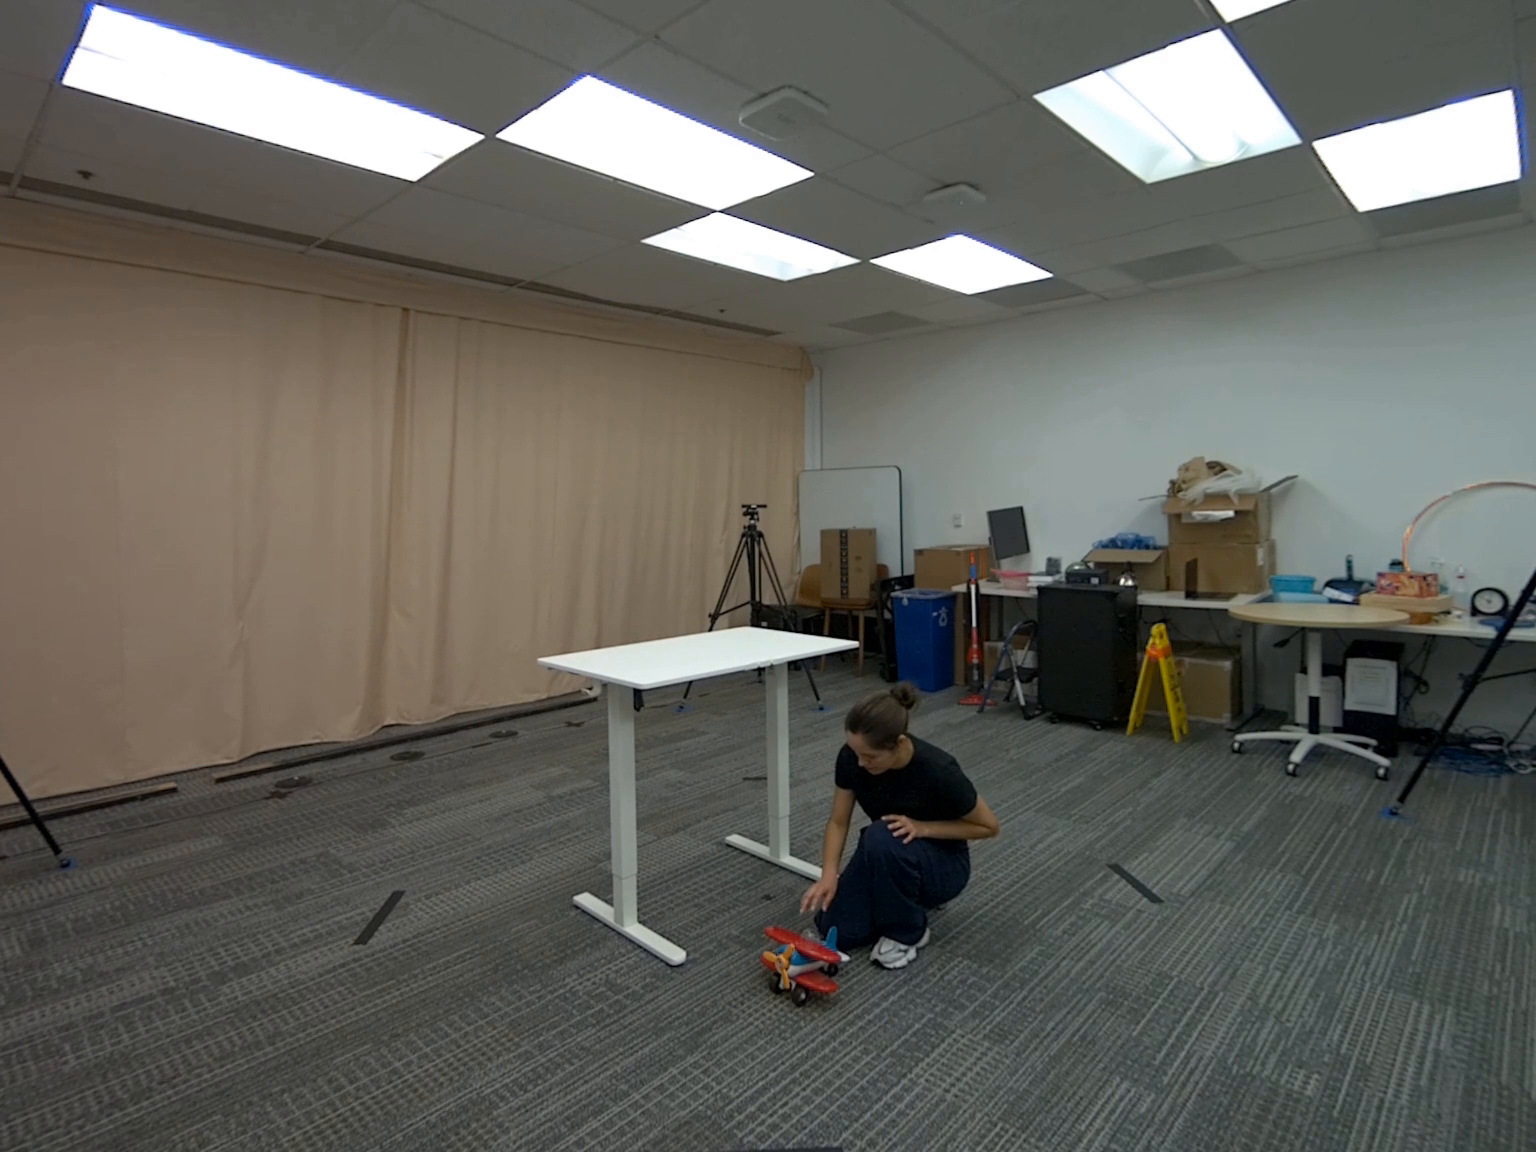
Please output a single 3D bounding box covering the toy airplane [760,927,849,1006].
[{"bbox_3d":[0.111,1.106,2.442,0.255,0.156,0.255,-1,6,16],"label":"toy airplane"}]
